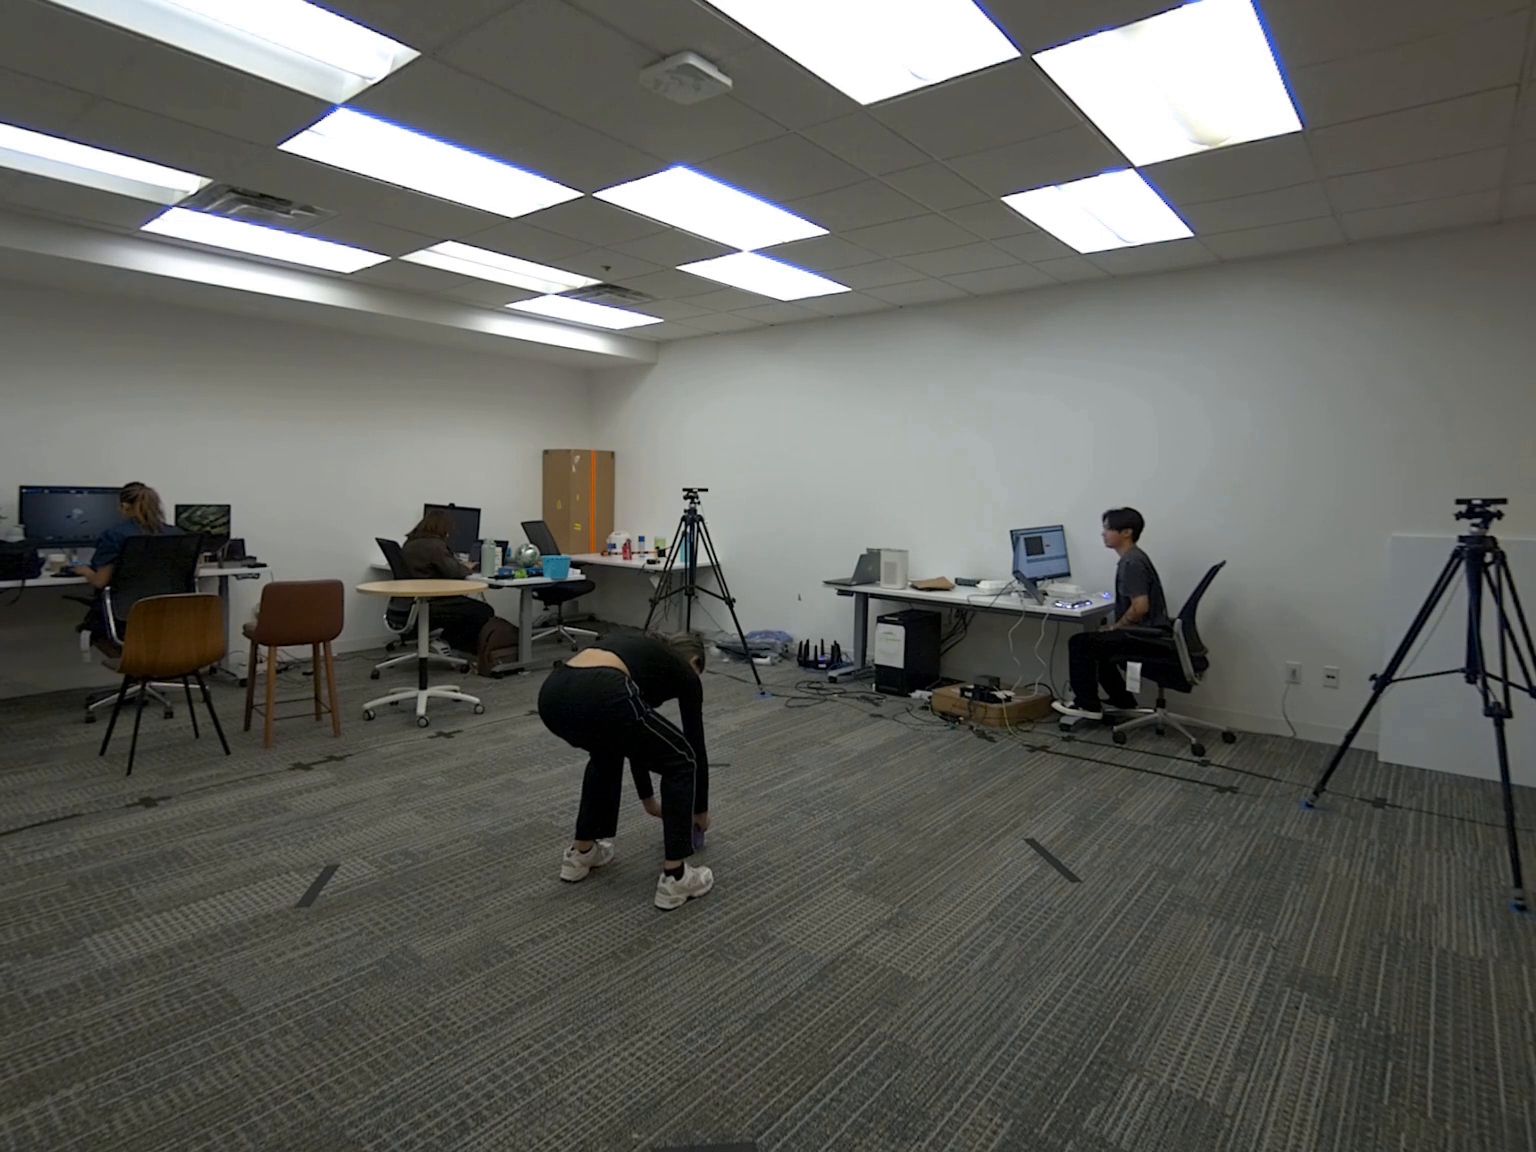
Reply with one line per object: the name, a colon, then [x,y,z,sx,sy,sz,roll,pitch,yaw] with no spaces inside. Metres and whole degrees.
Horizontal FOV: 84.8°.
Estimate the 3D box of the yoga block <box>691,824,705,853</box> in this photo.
yoga block: [-0.341,0.928,3.328,0.153,0.229,0.074,1,2,26]
